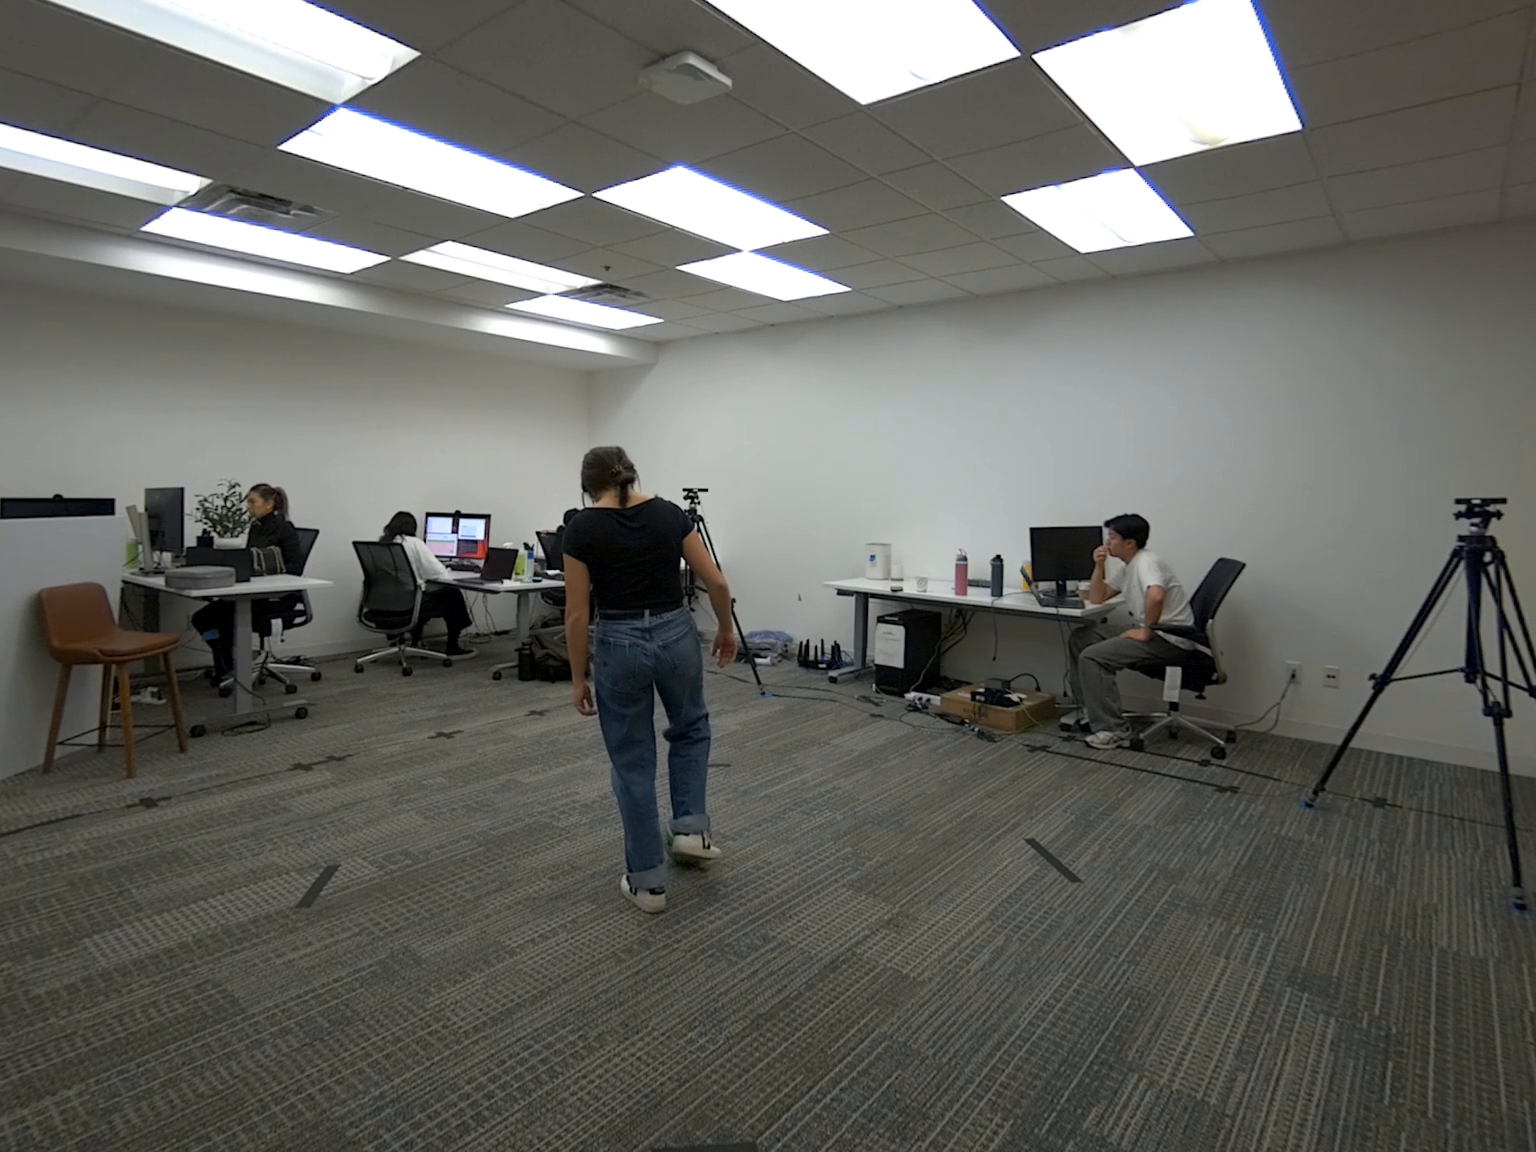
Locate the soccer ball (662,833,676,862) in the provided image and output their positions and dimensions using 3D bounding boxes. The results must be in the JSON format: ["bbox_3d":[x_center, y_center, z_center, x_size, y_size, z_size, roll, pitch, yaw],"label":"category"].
[{"bbox_3d":[-0.303,0.956,3.176,0.187,0.187,0.188,1,4,-2],"label":"soccer ball"}]
